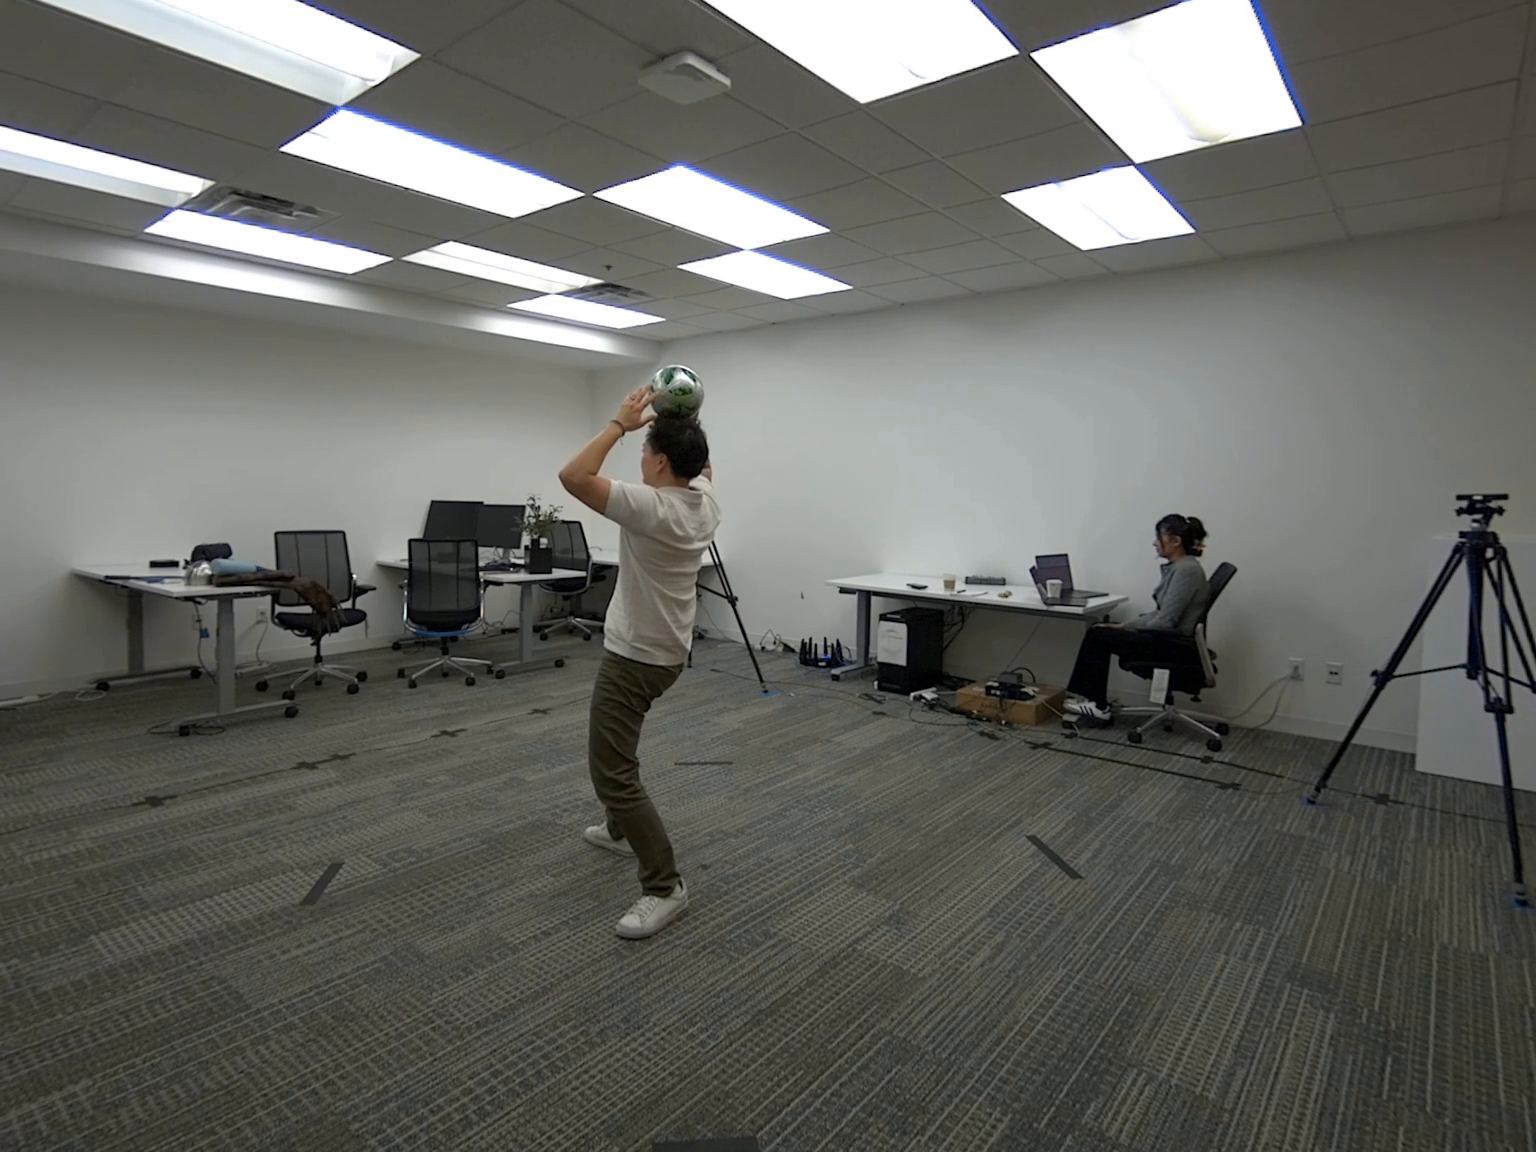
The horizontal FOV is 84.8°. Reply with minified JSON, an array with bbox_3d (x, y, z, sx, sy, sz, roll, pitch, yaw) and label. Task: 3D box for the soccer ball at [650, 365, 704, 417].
[{"bbox_3d":[-0.312,-0.612,2.845,0.187,0.187,0.188,1,4,-2],"label":"soccer ball"}]
